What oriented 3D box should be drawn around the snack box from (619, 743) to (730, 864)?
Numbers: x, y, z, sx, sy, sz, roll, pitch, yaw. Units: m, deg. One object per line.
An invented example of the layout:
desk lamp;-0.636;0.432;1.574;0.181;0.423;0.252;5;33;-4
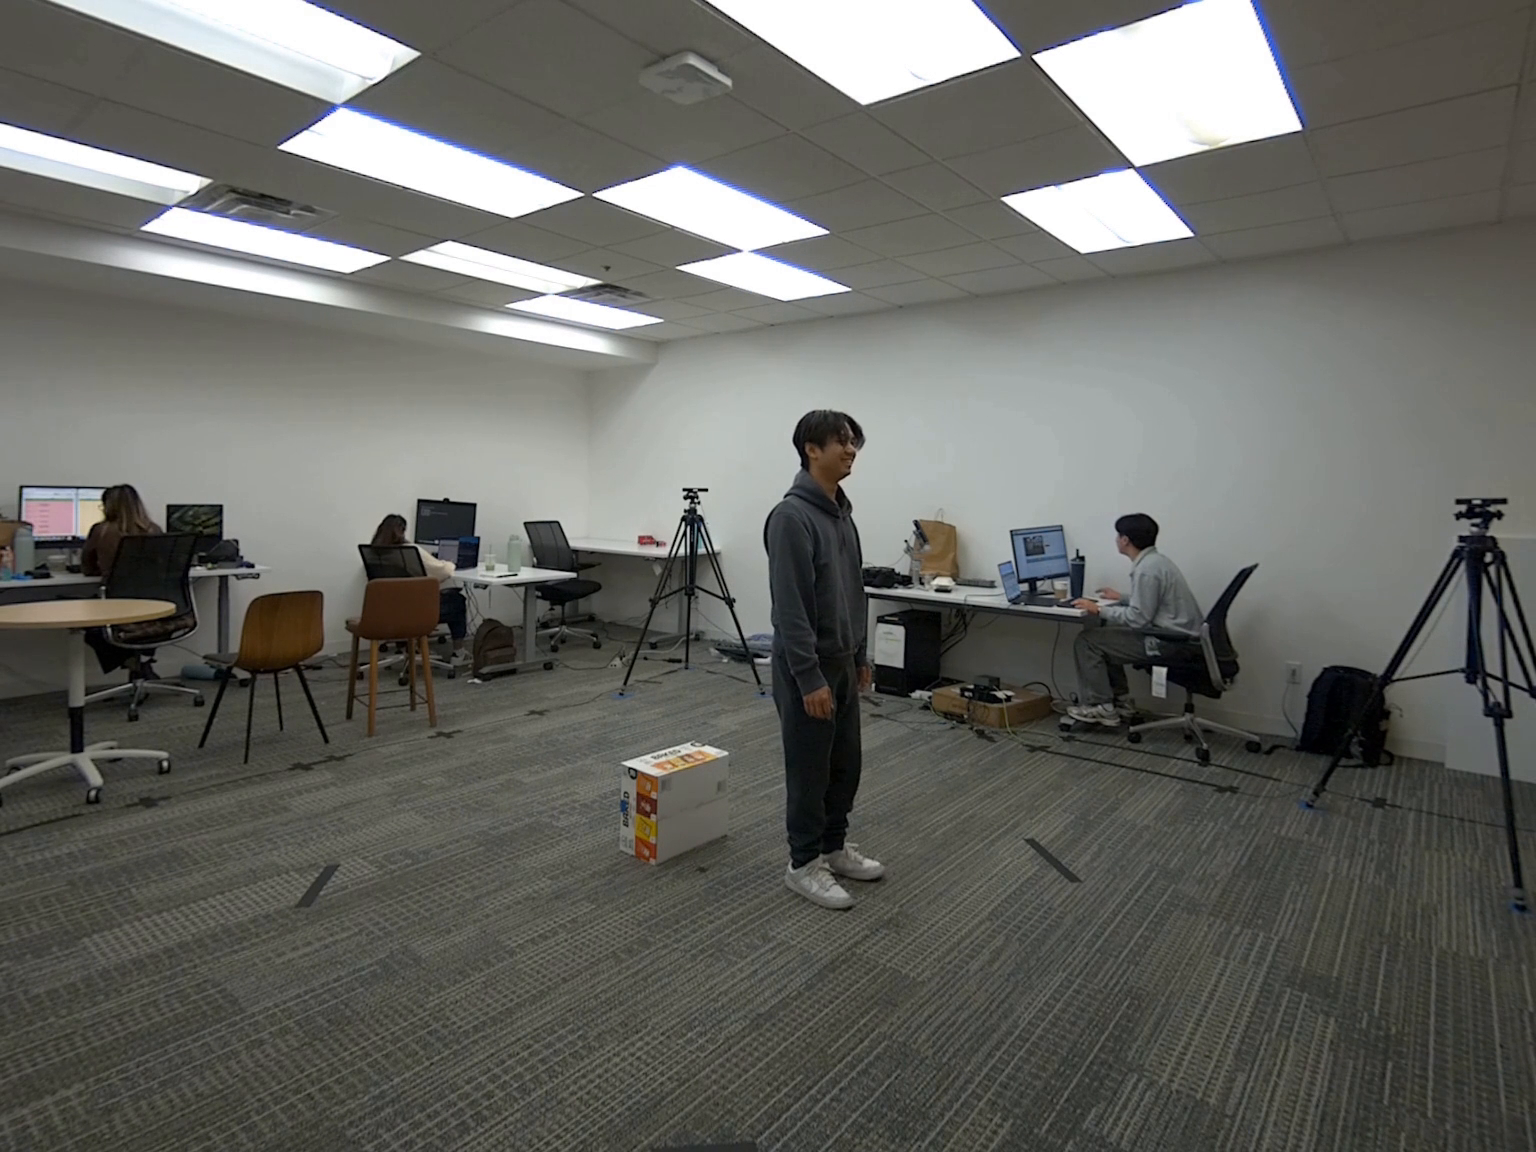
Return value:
snack box;-0.374;0.877;3.335;0.213;0.339;0.393;6;7;40
